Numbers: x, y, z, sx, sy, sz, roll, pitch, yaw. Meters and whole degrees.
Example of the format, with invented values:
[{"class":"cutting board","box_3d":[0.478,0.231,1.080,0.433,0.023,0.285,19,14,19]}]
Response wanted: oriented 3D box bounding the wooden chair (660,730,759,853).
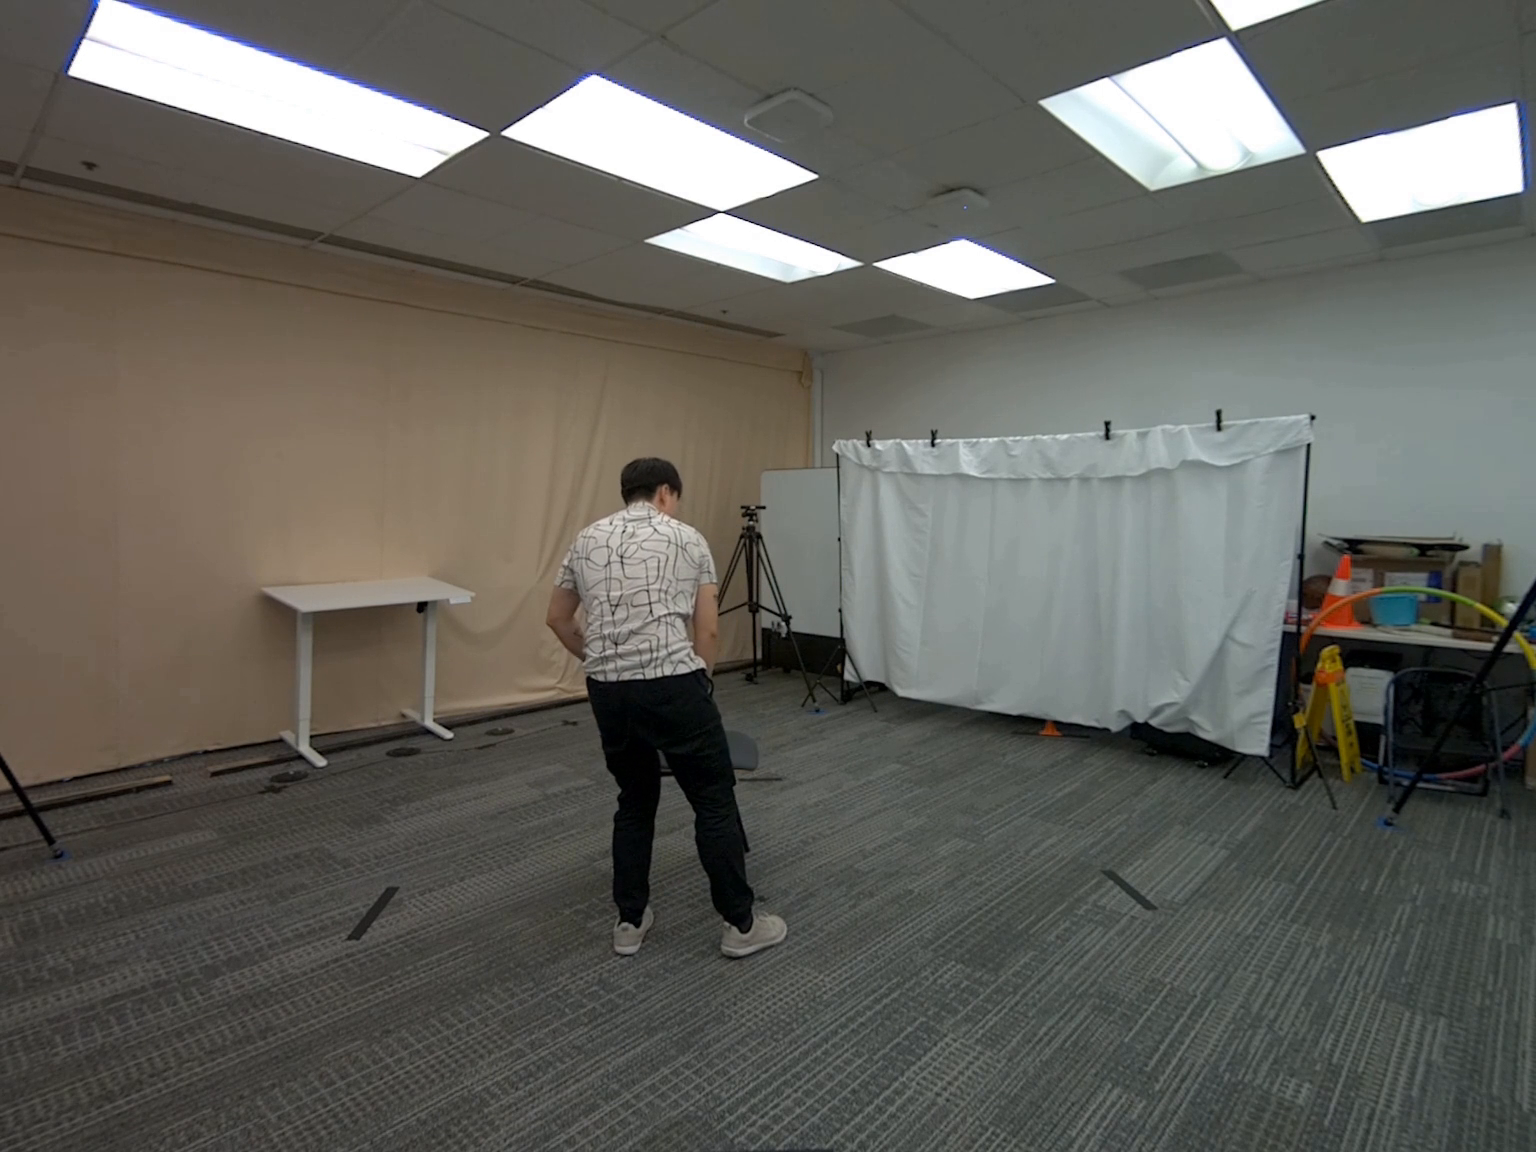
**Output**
[{"class":"wooden chair","box_3d":[-0.298,0.703,3.154,0.525,0.876,0.477,-4,2,3]}]
